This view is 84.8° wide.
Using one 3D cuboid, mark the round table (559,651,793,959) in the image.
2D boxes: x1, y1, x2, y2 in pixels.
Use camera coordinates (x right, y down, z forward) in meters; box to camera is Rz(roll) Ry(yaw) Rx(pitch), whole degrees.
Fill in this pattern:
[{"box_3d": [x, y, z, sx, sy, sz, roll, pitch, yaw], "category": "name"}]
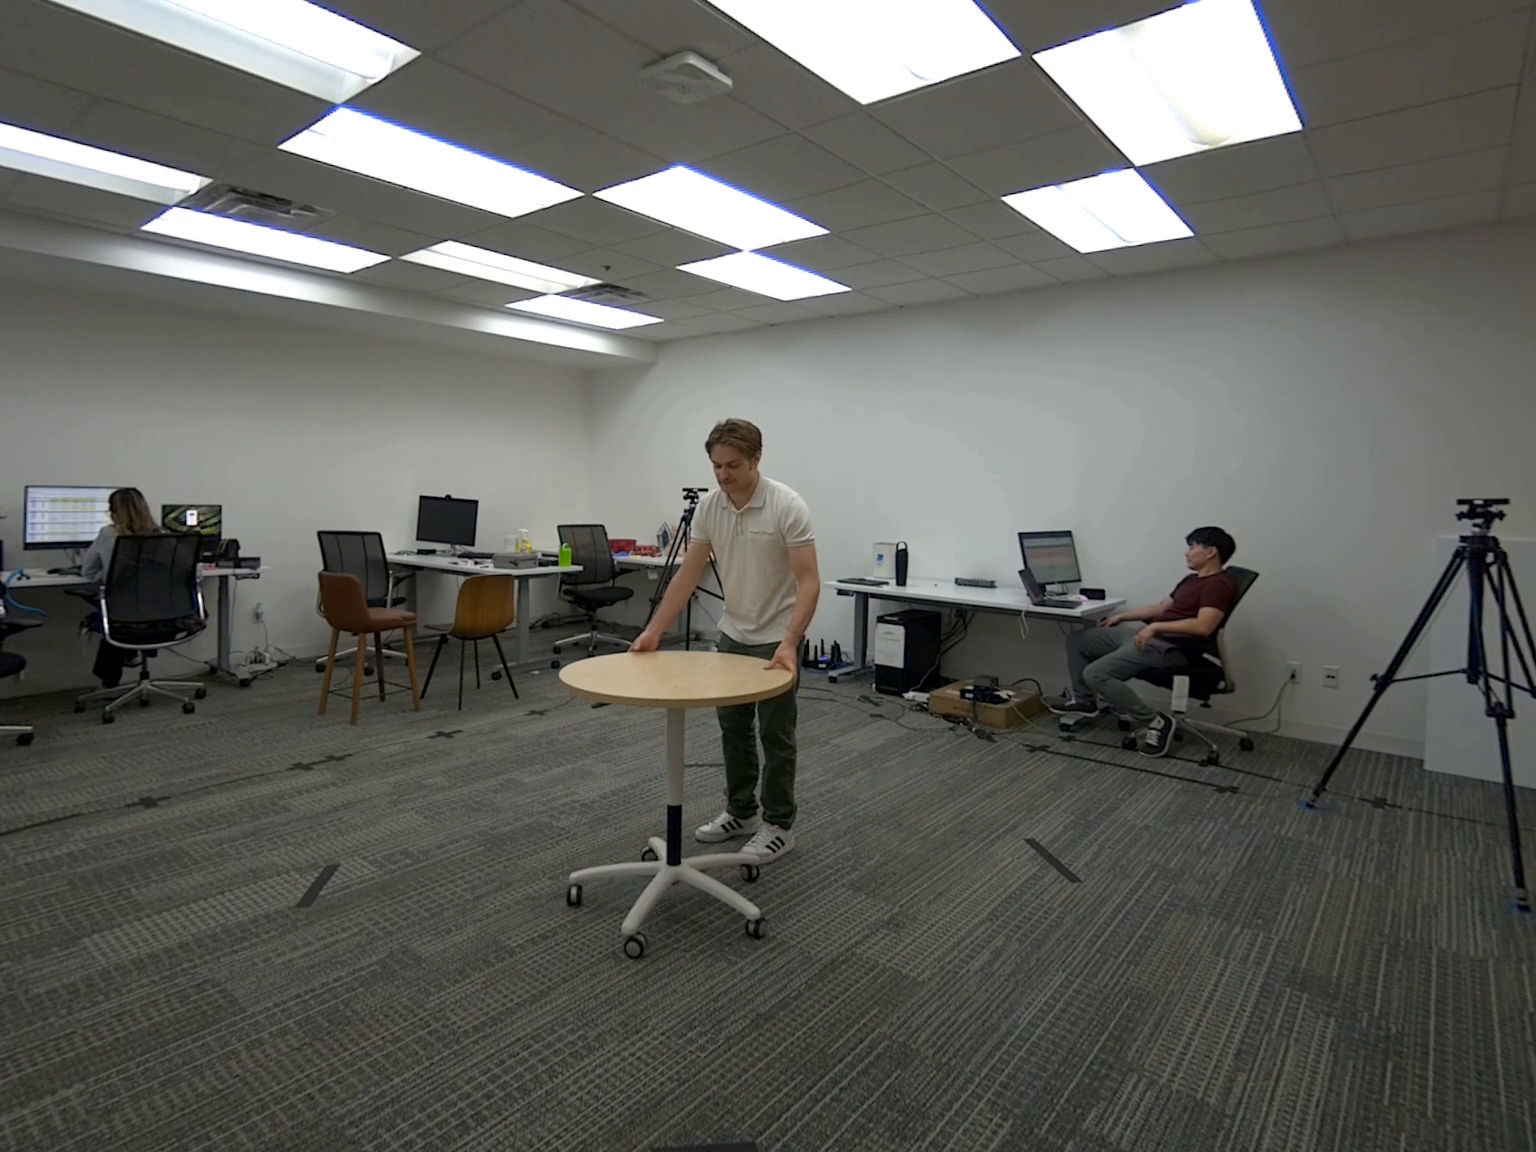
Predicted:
[{"box_3d": [-0.318, 0.706, 2.819, 0.763, 0.792, 0.767, 0, 3, -2], "category": "round table"}]
